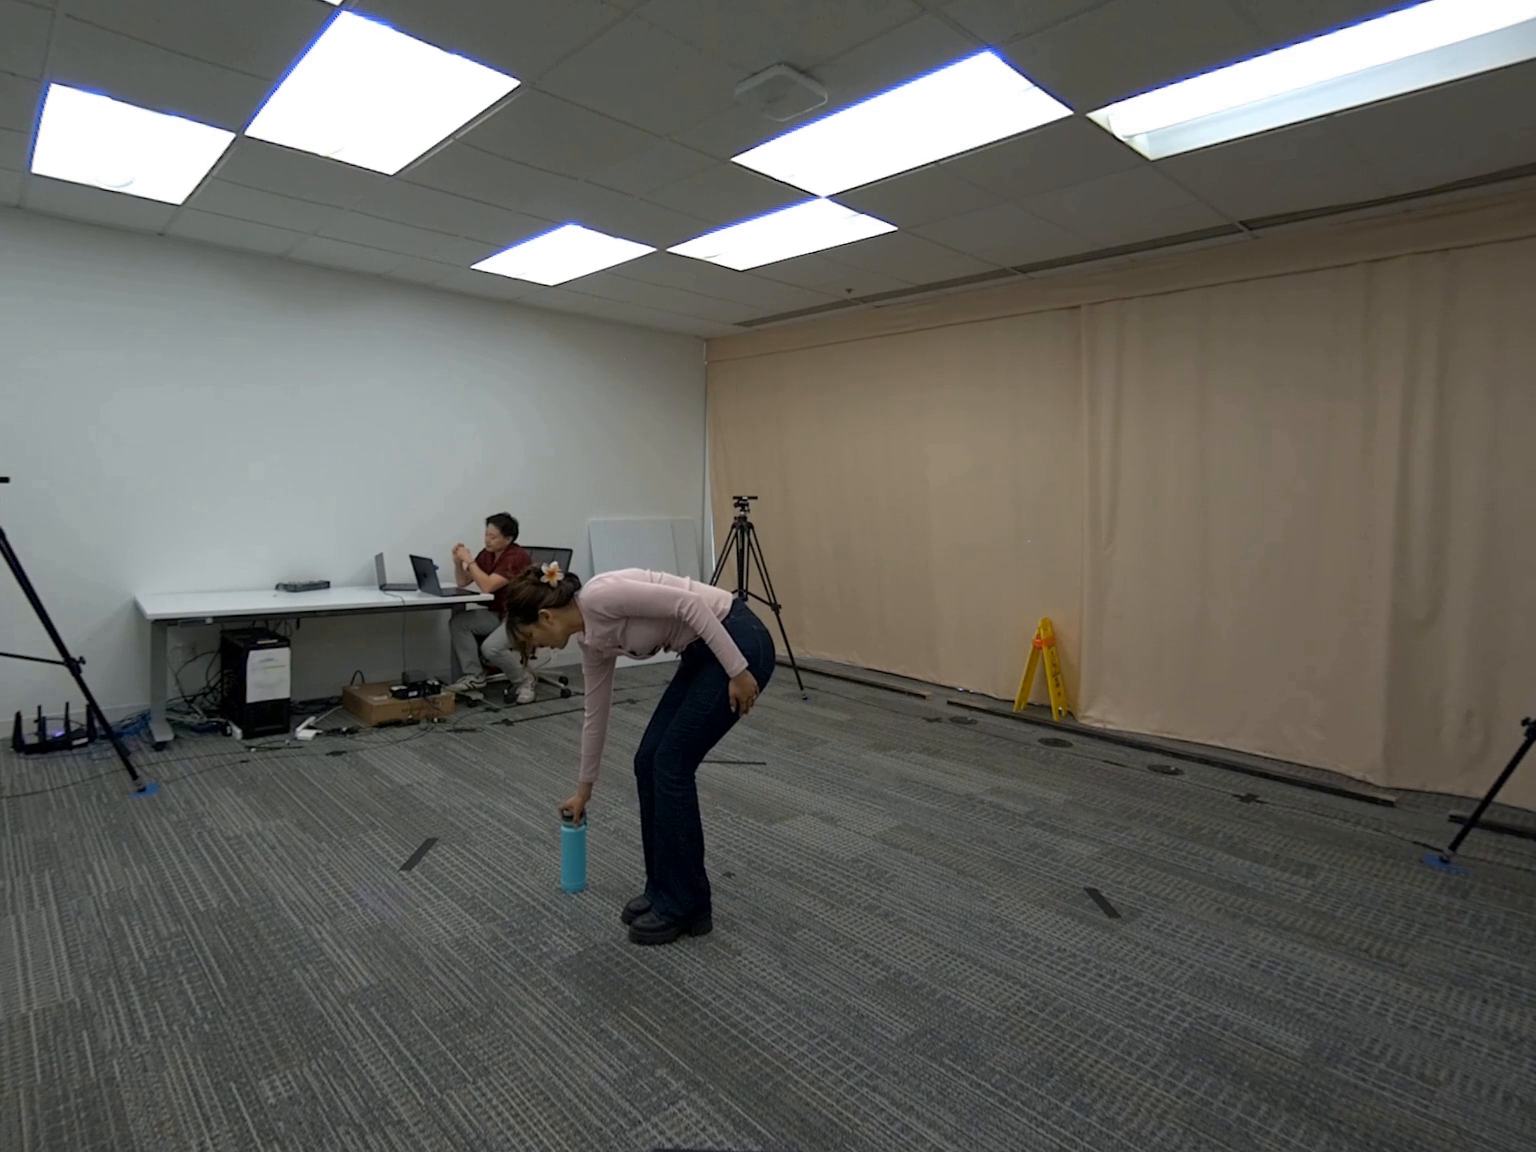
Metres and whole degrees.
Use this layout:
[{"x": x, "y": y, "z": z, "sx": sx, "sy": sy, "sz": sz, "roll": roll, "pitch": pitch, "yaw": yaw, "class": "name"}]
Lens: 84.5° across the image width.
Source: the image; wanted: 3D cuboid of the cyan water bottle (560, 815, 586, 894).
[{"x": -0.697, "y": 0.965, "z": 2.971, "sx": 0.092, "sy": 0.282, "sz": 0.092, "roll": 2, "pitch": 4, "yaw": -2, "class": "cyan water bottle"}]
